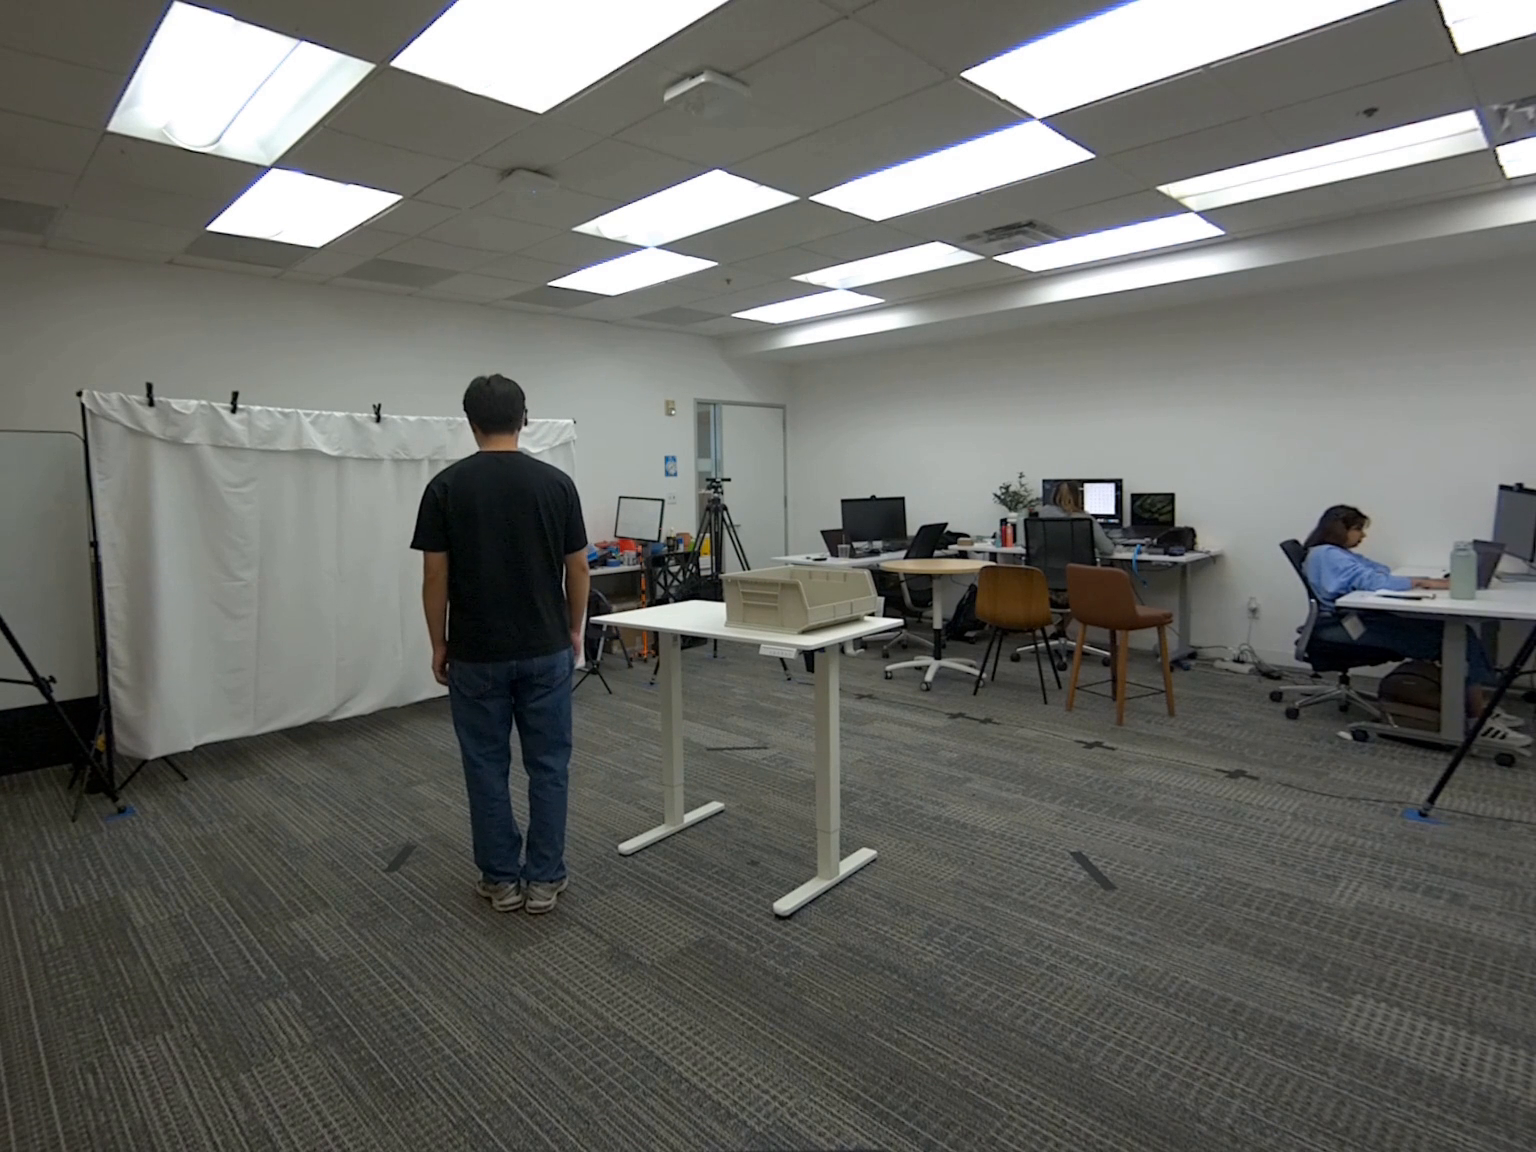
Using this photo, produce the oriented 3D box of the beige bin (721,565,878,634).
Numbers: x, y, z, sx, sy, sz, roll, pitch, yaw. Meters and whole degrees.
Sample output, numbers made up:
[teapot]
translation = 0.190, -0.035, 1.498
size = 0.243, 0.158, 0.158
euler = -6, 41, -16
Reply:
[beige bin]
translation = 0.116, 0.080, 2.995
size = 0.388, 0.188, 0.411
euler = 2, 6, 41
